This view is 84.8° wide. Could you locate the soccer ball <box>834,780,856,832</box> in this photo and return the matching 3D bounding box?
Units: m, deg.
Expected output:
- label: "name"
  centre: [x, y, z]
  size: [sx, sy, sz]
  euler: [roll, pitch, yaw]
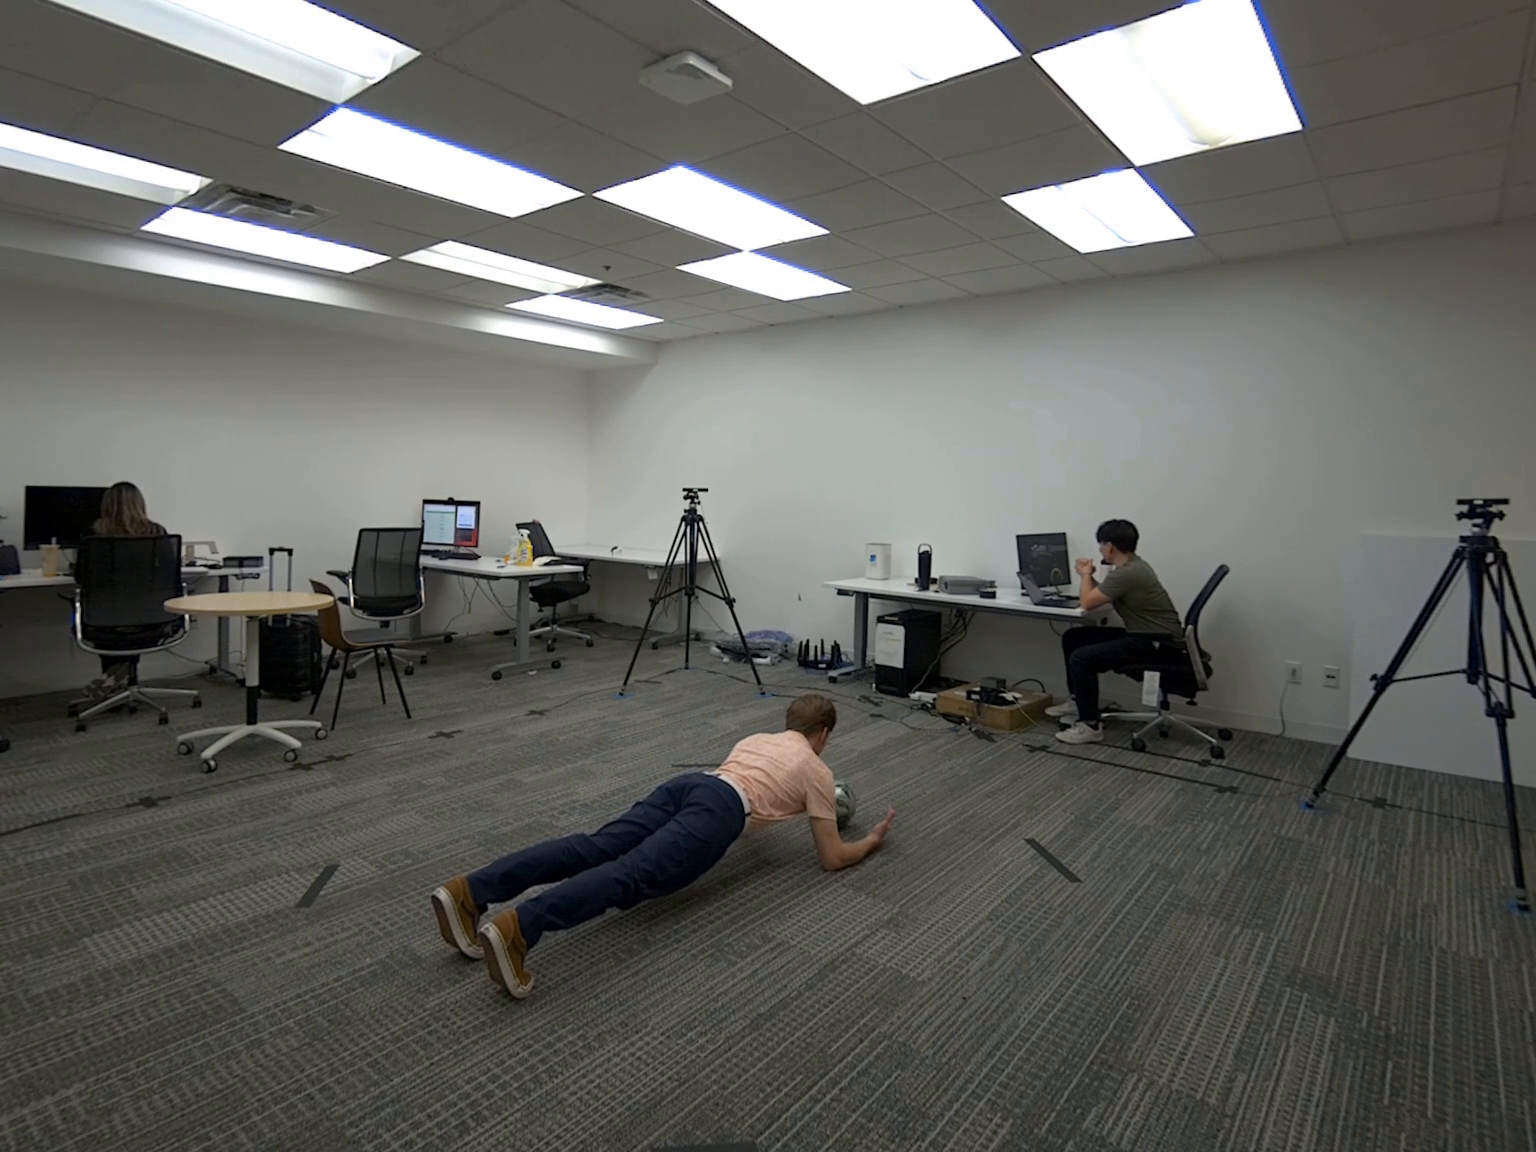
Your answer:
- label: "soccer ball"
  centre: [0.268, 0.946, 3.542]
  size: [0.187, 0.187, 0.188]
  euler: [1, 4, -2]
